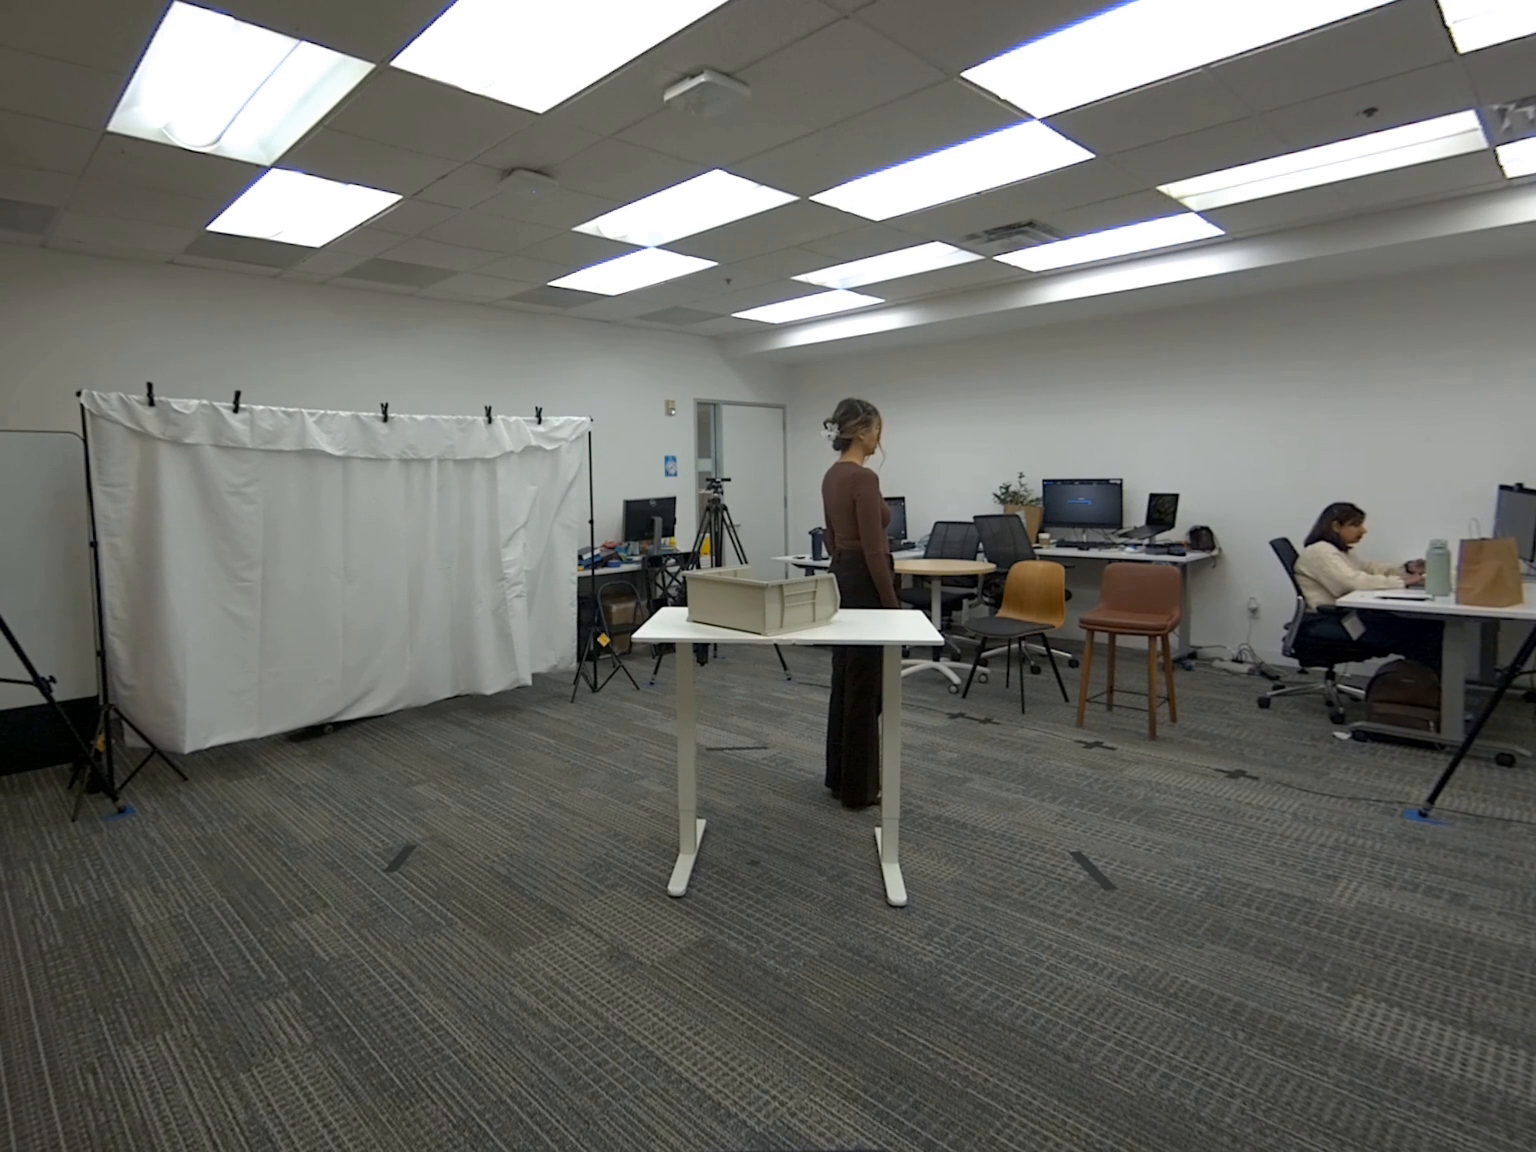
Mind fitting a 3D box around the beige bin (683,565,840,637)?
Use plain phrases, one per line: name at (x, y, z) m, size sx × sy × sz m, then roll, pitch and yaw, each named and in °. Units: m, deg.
beige bin at (-0.024, 0.077, 3.030) m, size 0.368 × 0.188 × 0.436 m, roll -8°, pitch 11°, yaw -44°
